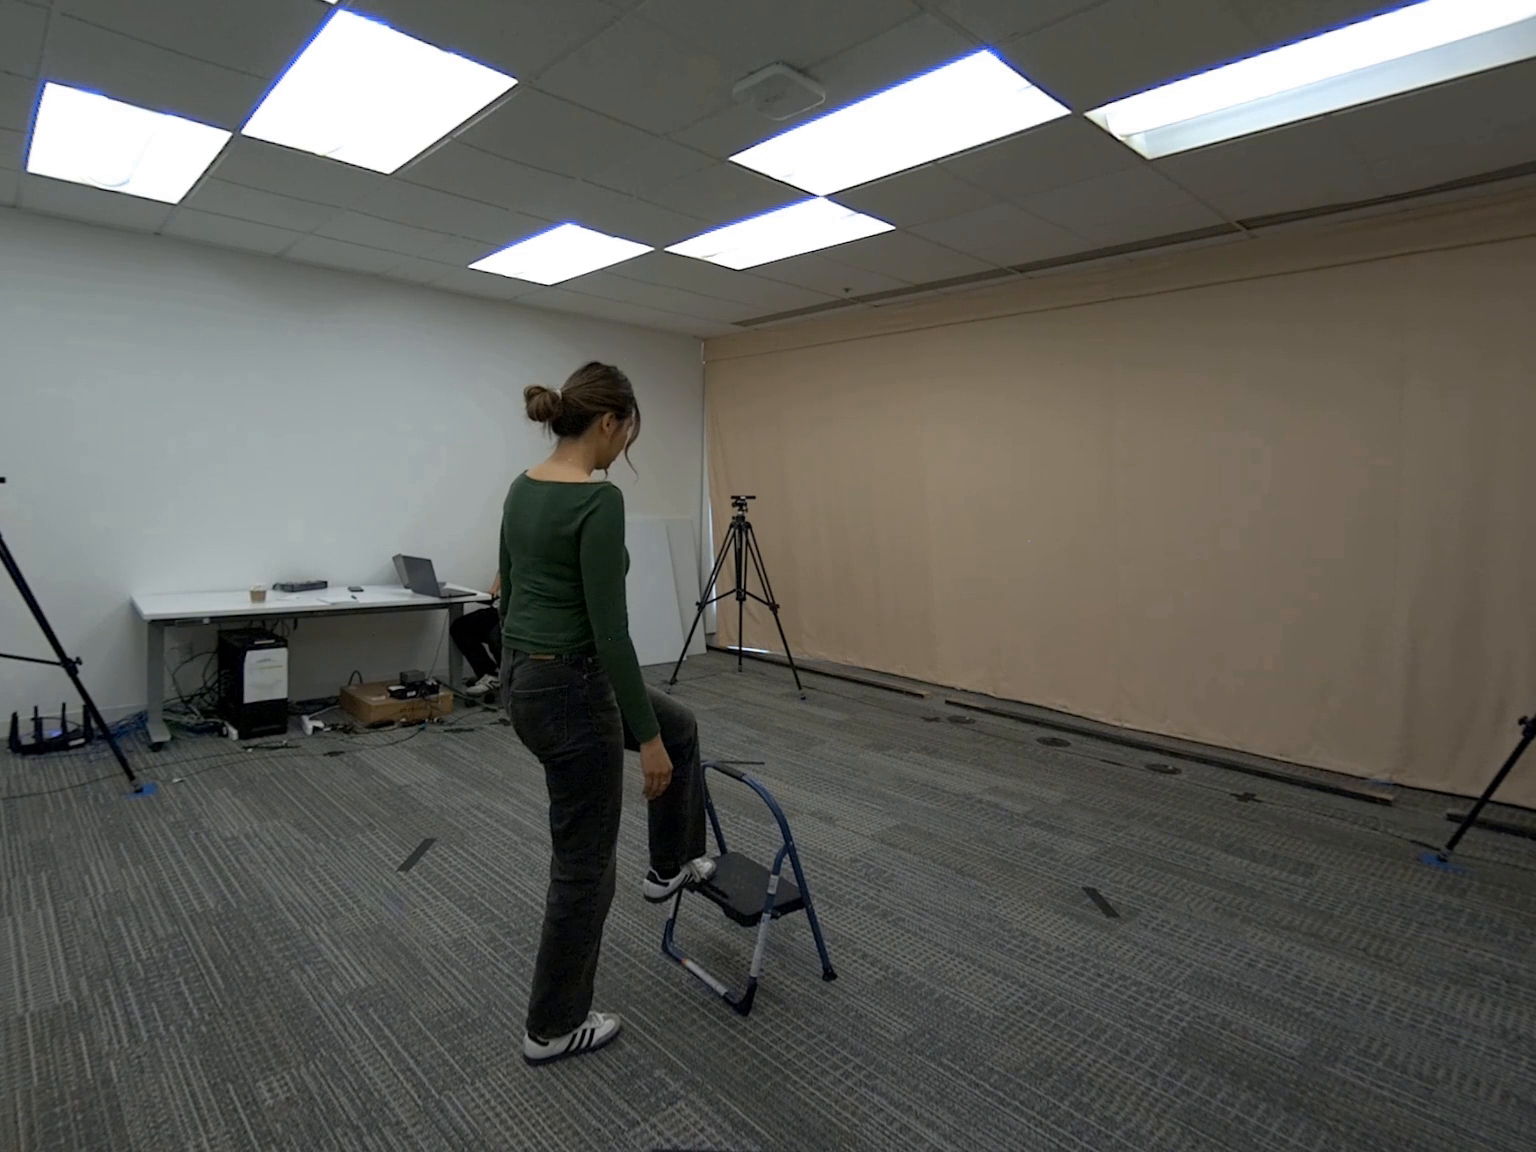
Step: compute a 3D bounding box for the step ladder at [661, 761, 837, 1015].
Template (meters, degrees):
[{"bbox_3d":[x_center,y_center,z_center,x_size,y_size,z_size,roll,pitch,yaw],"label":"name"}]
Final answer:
[{"bbox_3d":[-0.062,0.857,2.496,0.341,0.604,0.441,-2,5,-39],"label":"step ladder"}]
